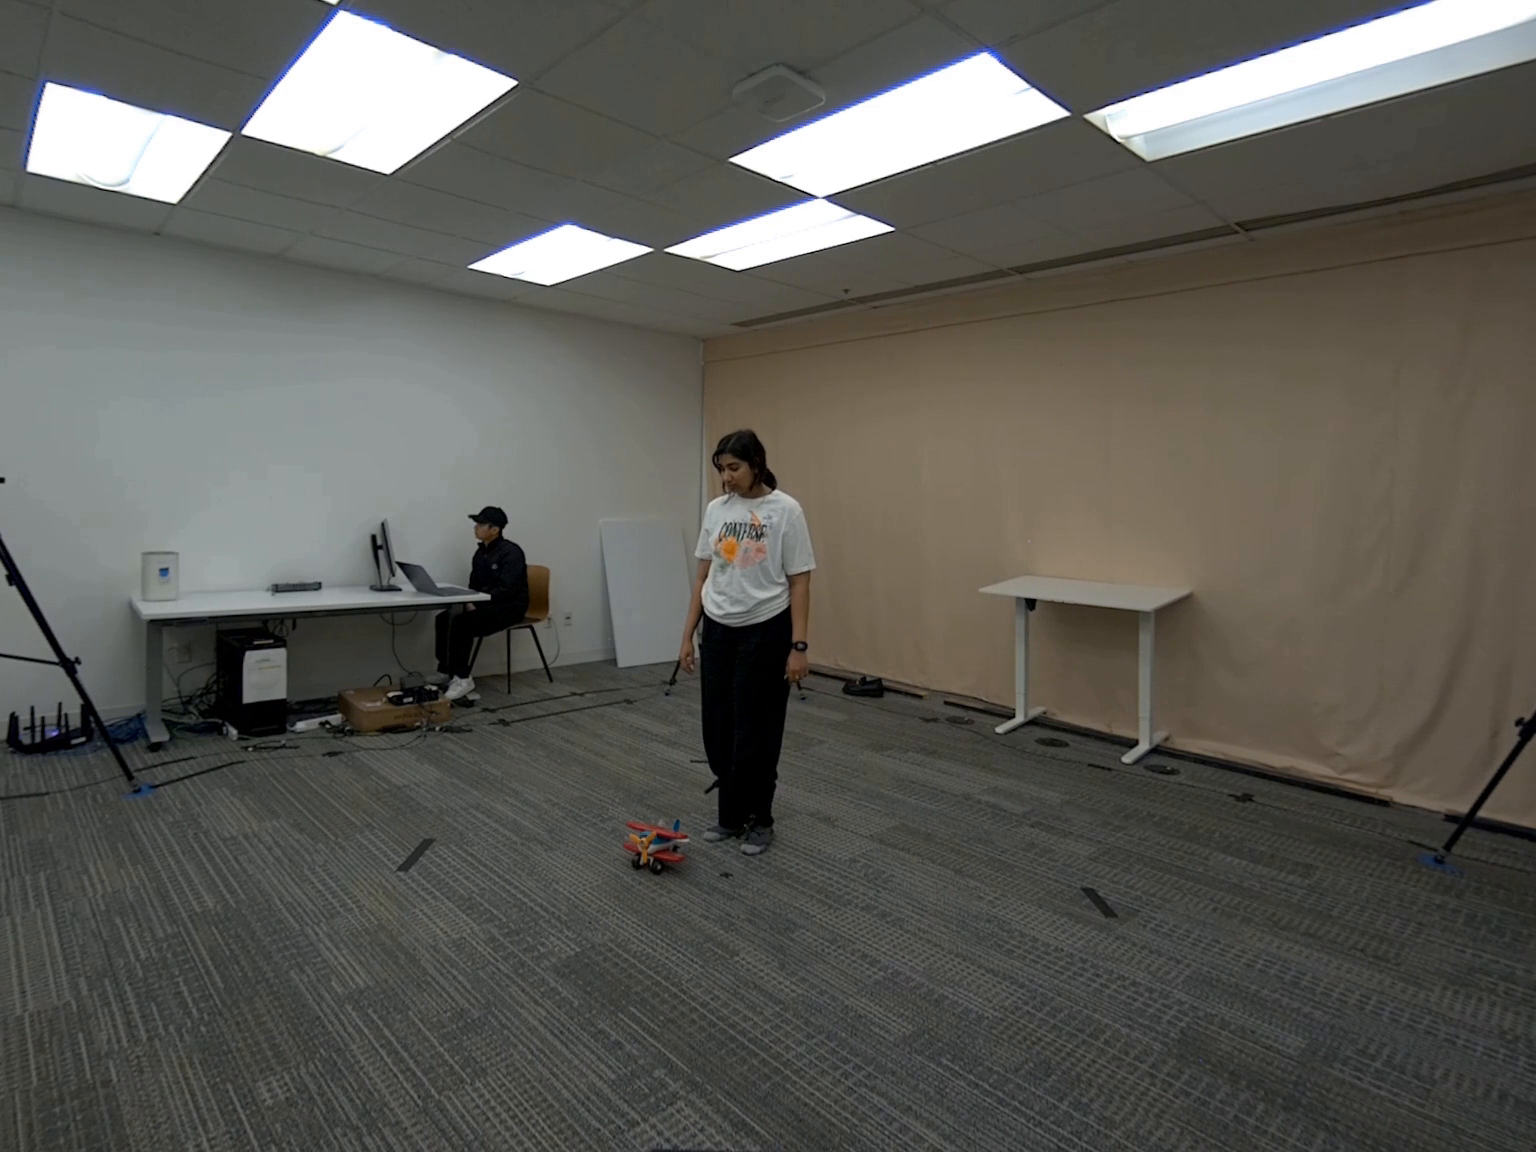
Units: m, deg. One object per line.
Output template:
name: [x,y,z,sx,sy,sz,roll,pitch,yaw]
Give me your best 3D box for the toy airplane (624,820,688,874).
toy airplane: [-0.434,1.013,3.200,0.251,0.156,0.260,2,6,-1]
